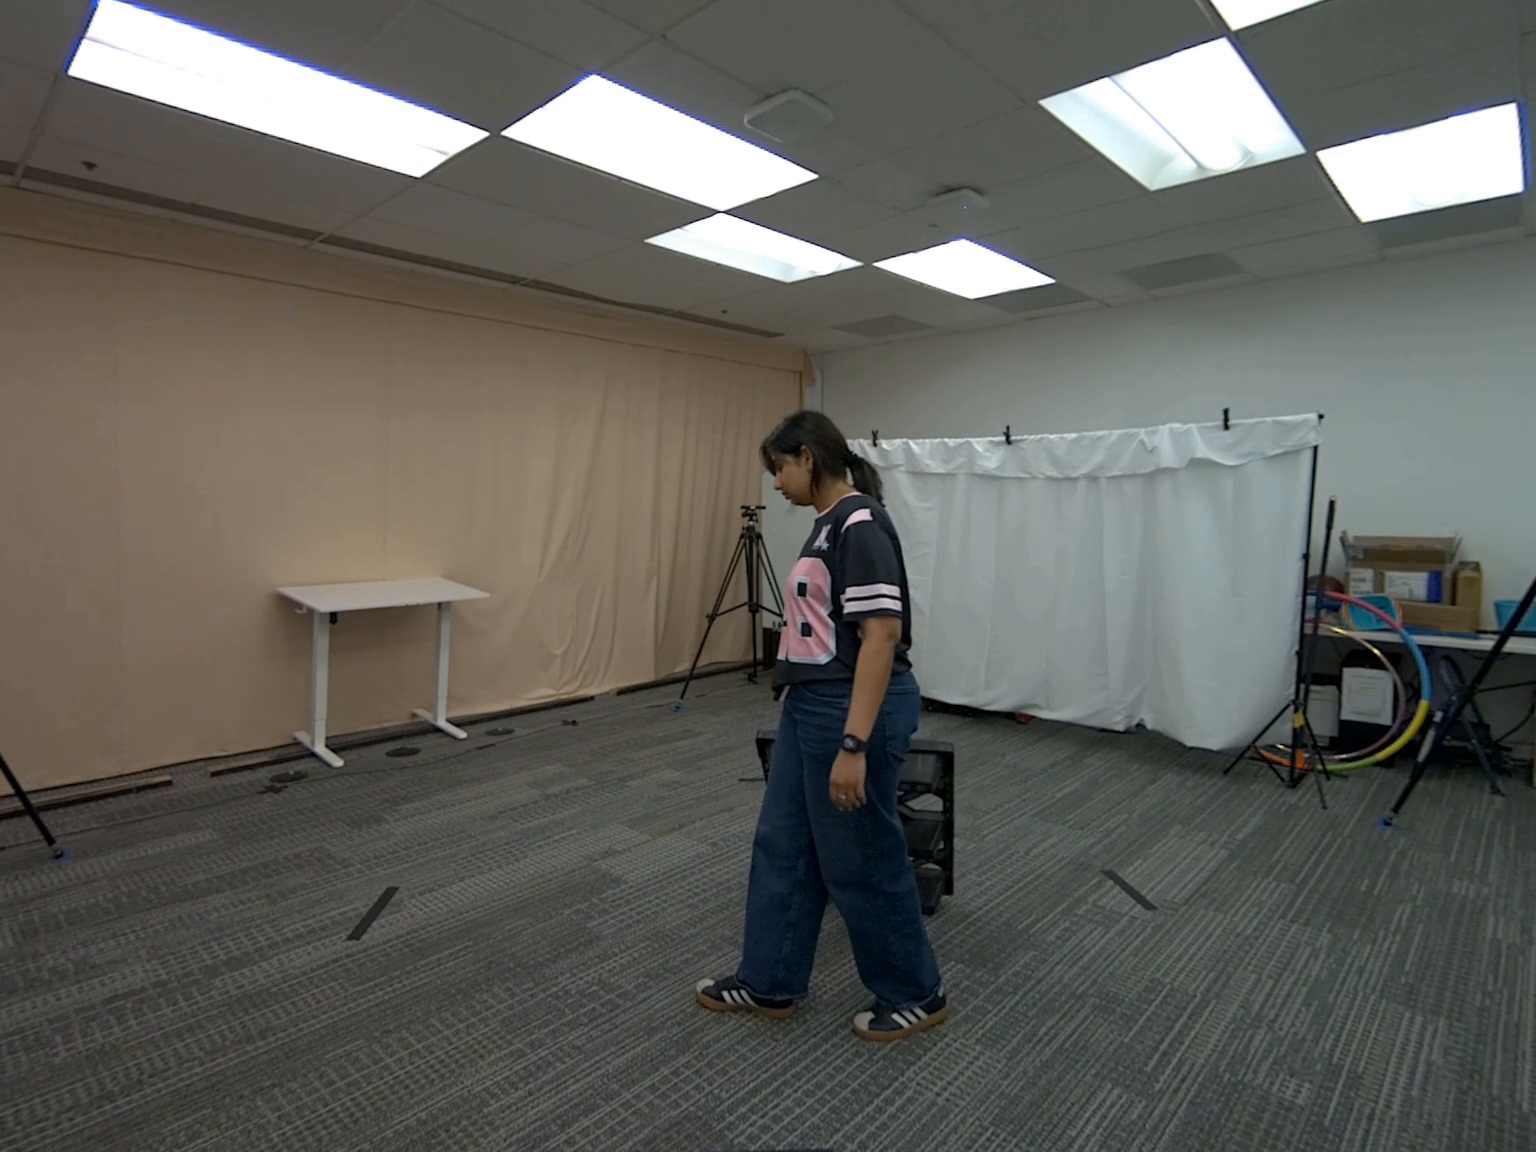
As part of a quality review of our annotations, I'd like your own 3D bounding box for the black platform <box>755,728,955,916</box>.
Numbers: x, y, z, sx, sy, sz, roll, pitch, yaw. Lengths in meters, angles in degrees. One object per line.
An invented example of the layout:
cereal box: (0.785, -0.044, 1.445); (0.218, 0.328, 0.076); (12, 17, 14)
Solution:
black platform: (0.305, 0.832, 2.747); (0.615, 0.787, 0.144); (2, 39, 15)
